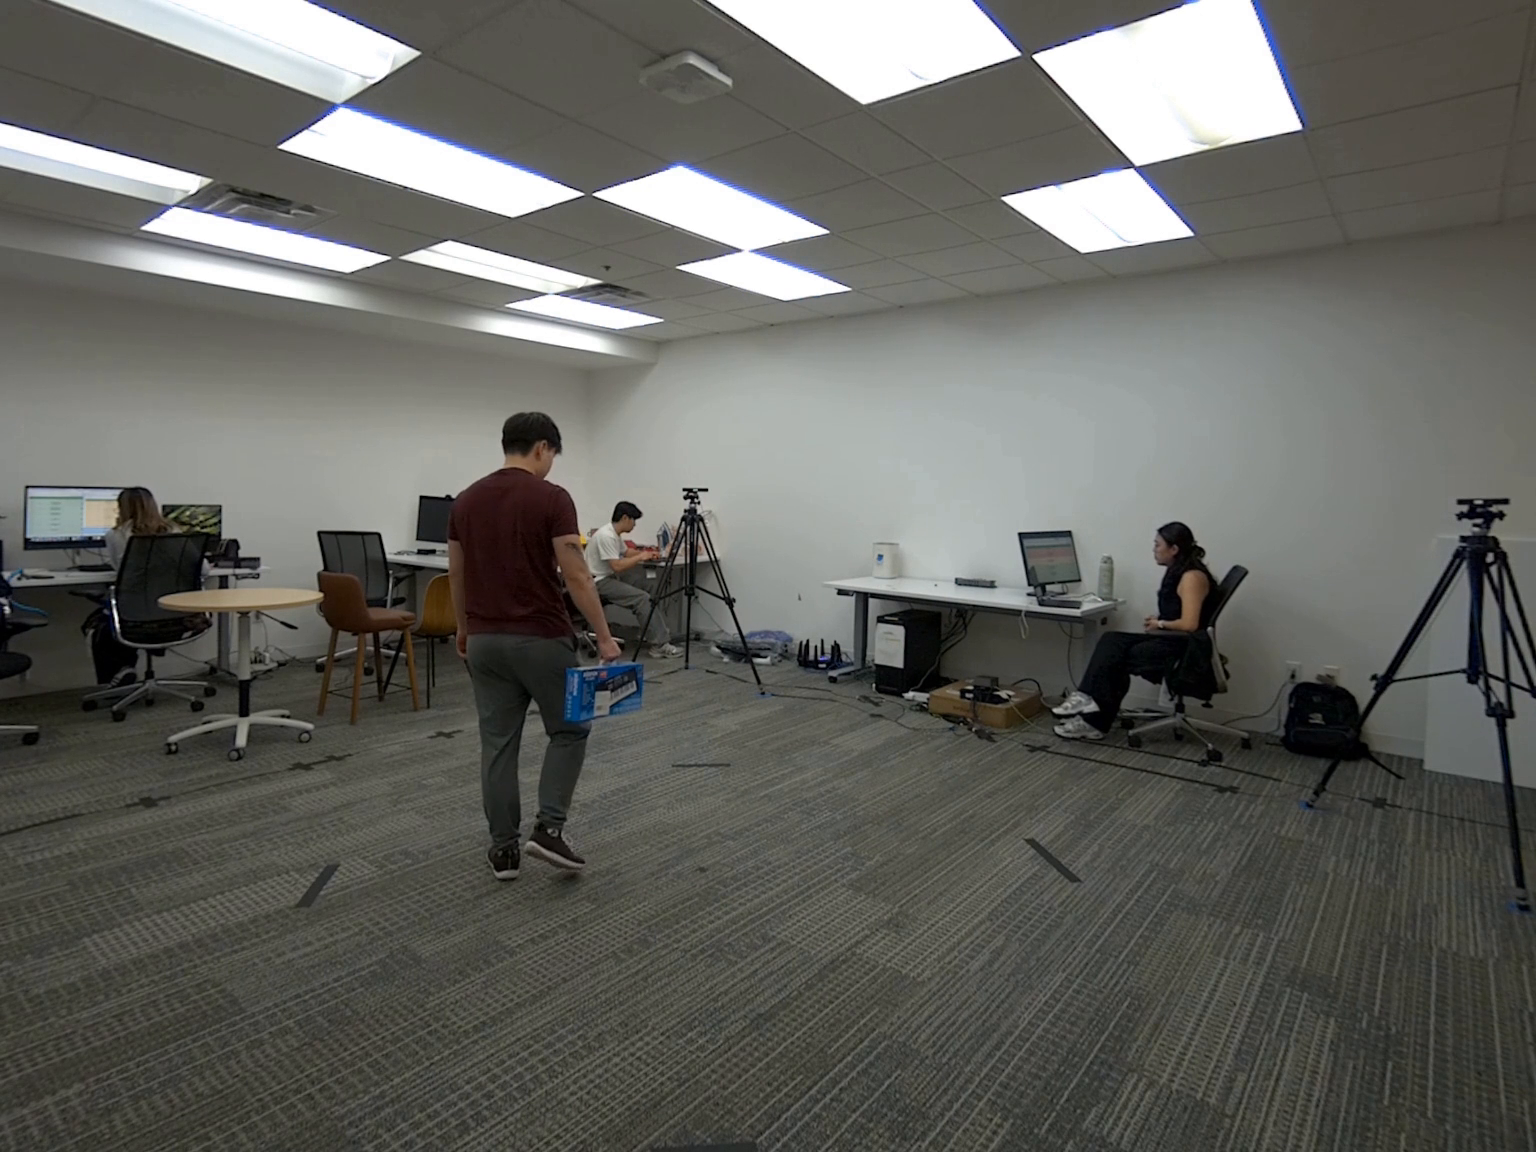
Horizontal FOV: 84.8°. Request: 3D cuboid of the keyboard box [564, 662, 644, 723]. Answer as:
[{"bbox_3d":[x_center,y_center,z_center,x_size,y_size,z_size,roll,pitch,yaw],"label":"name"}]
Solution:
[{"bbox_3d":[-0.580,0.405,3.008,0.060,0.176,0.425,1,-3,20],"label":"keyboard box"}]
